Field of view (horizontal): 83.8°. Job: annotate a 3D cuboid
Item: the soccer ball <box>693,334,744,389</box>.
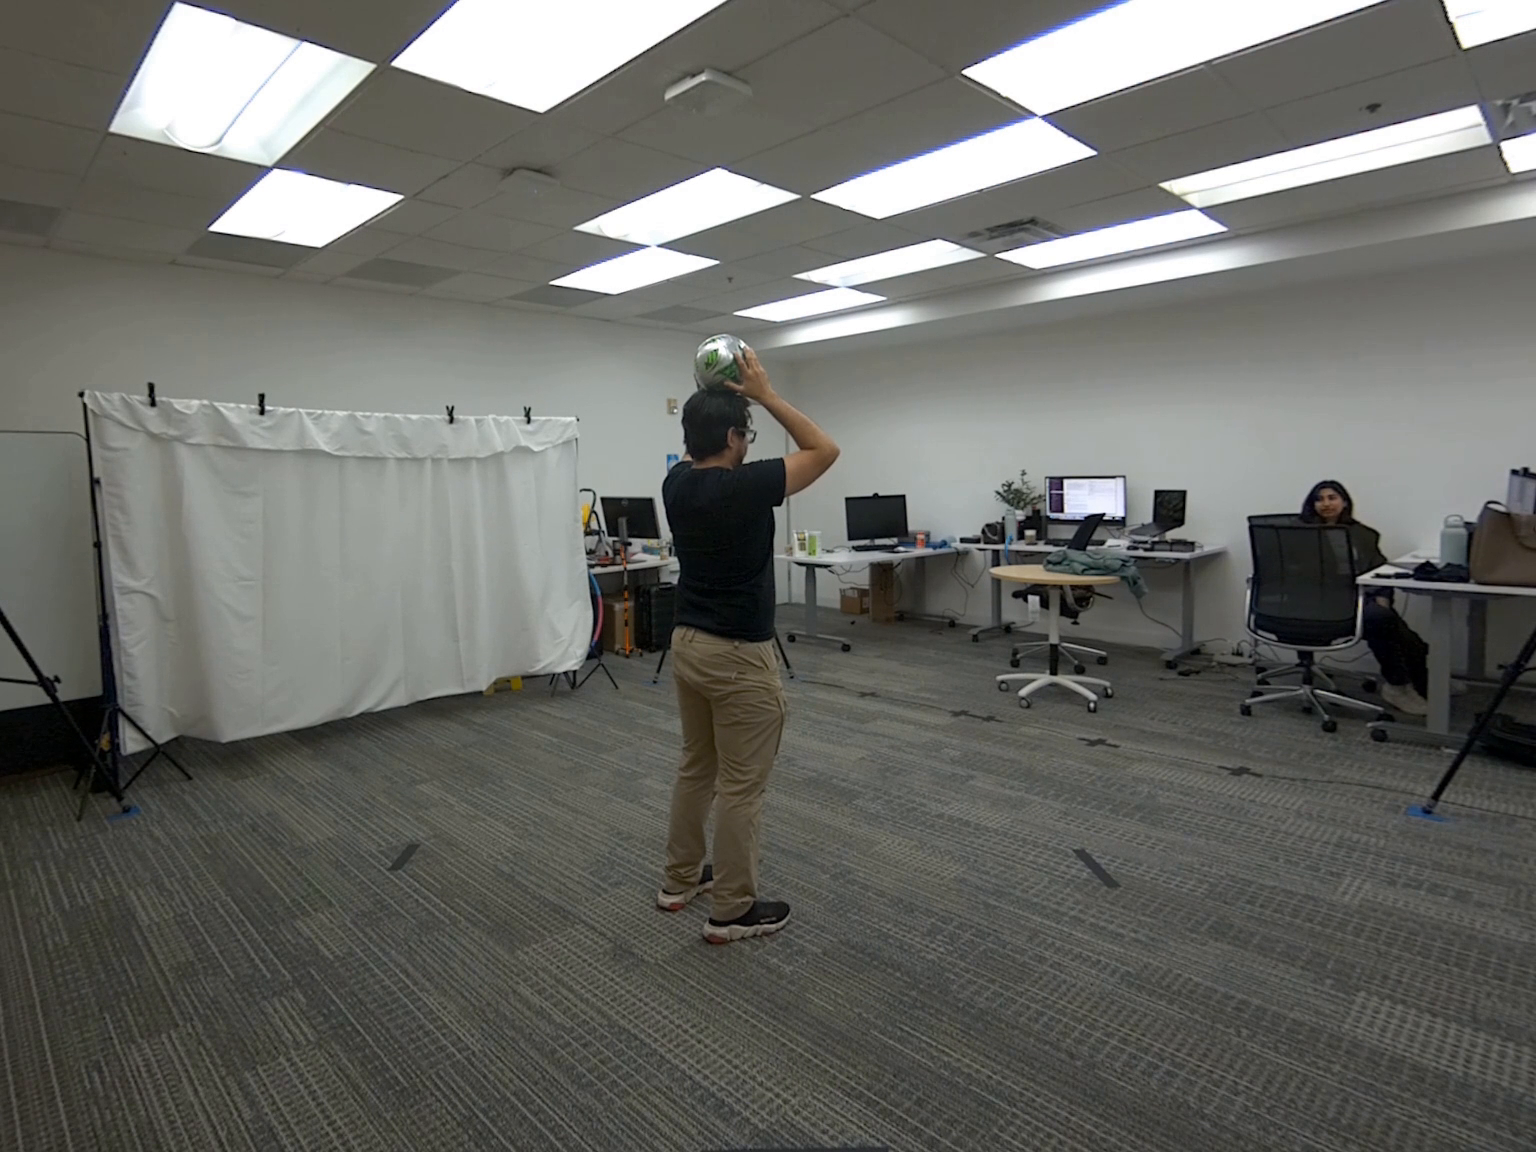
[{"bbox_3d":[-0.133,-0.648,2.636,0.187,0.187,0.188,-1,5,-2],"label":"soccer ball"}]
